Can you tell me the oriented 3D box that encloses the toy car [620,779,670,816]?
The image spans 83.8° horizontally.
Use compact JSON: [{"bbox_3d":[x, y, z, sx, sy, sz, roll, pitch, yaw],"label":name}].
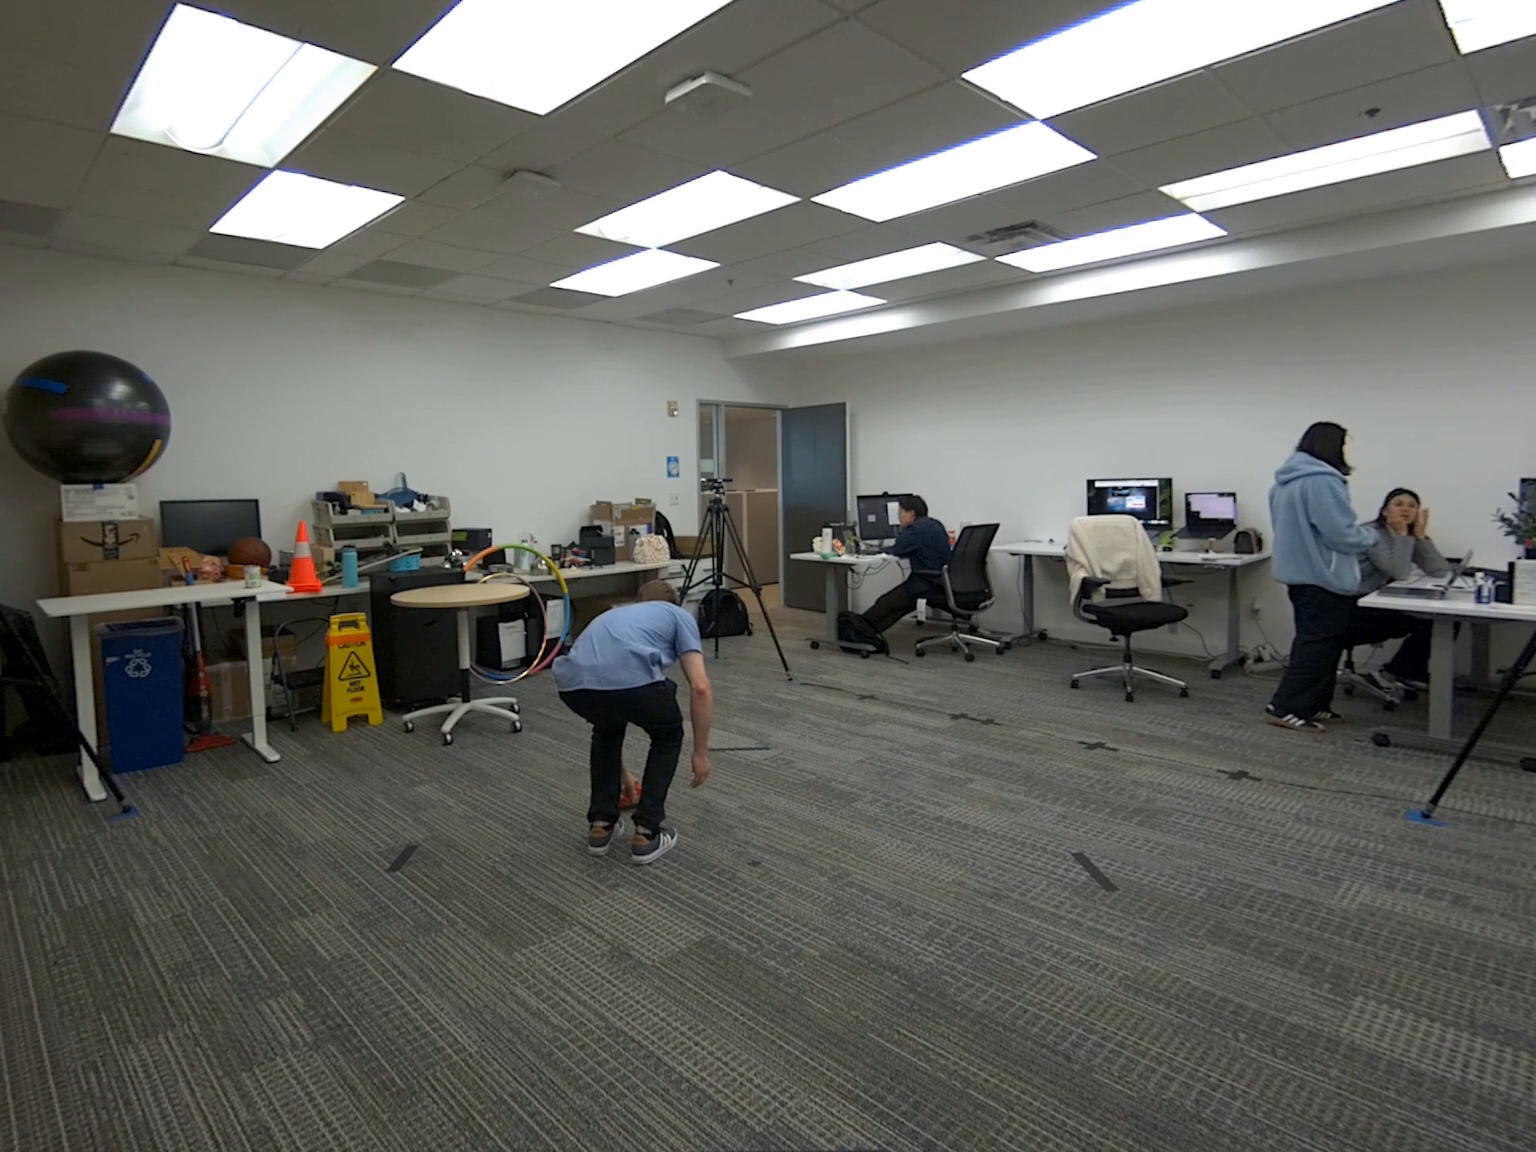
[{"bbox_3d":[-0.566,0.940,3.673,0.252,0.083,0.132,-13,6,-11],"label":"toy car"}]
